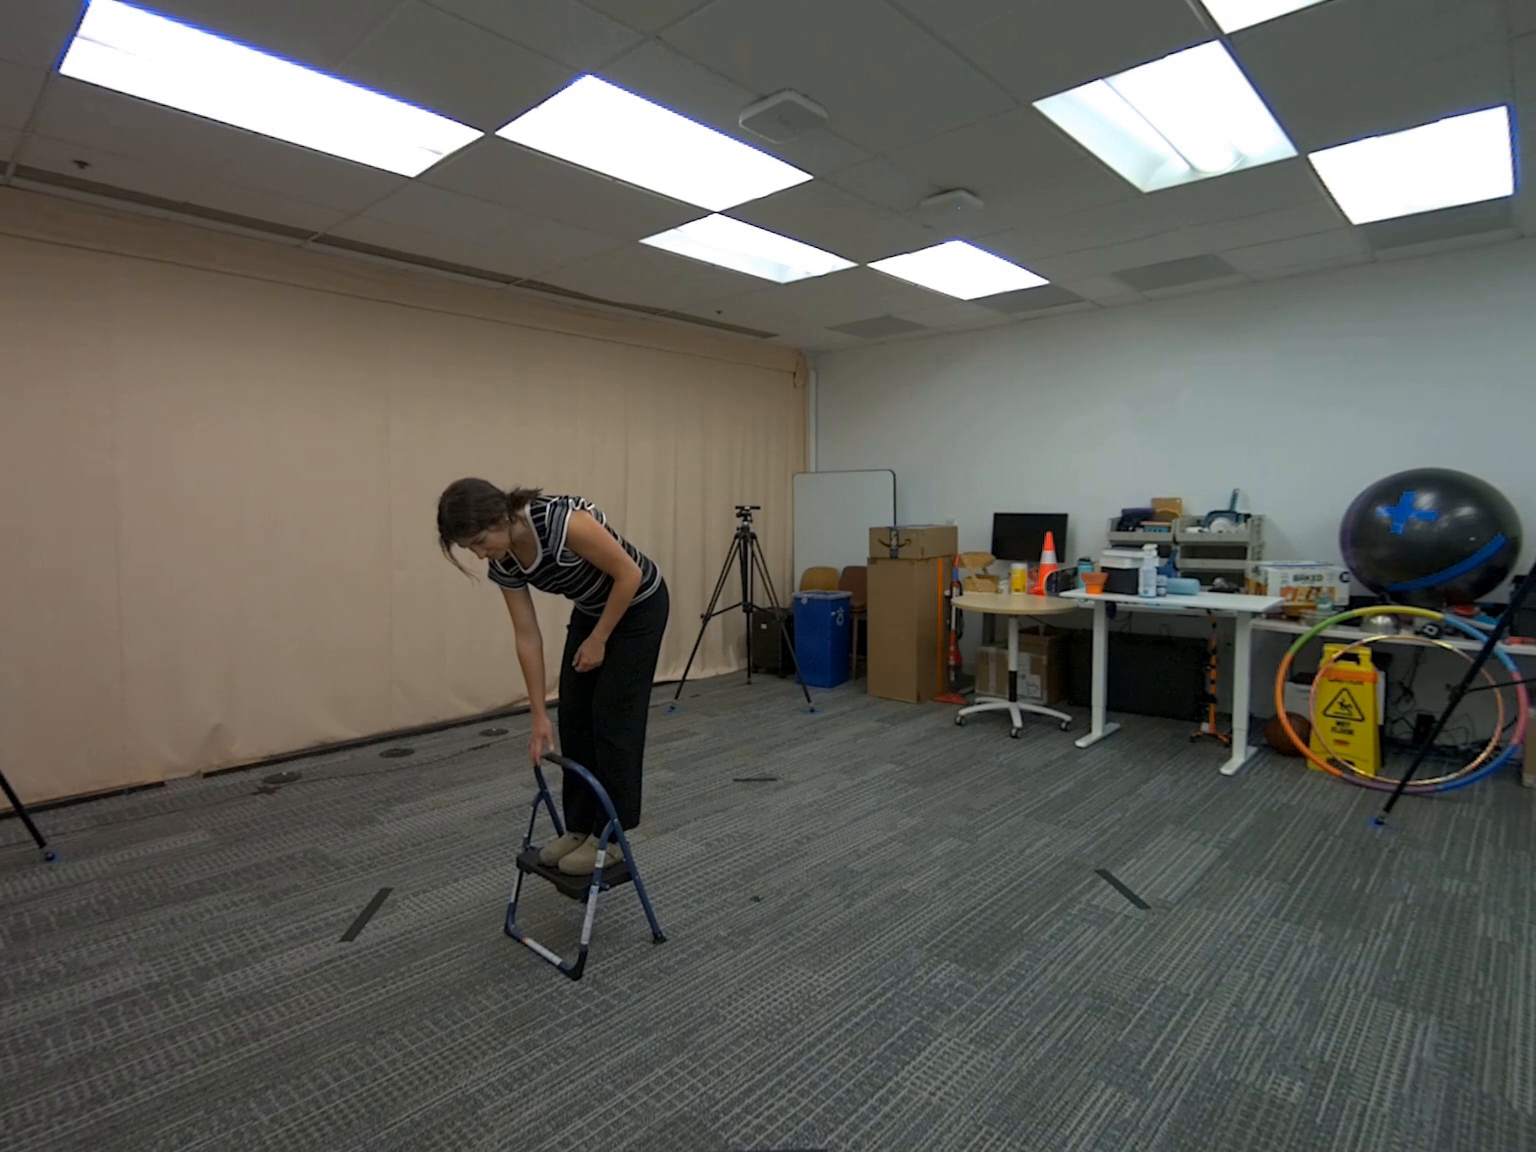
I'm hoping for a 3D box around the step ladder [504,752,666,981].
[{"bbox_3d":[-0.603,0.868,2.714,0.445,0.605,0.338,3,5,43],"label":"step ladder"}]
